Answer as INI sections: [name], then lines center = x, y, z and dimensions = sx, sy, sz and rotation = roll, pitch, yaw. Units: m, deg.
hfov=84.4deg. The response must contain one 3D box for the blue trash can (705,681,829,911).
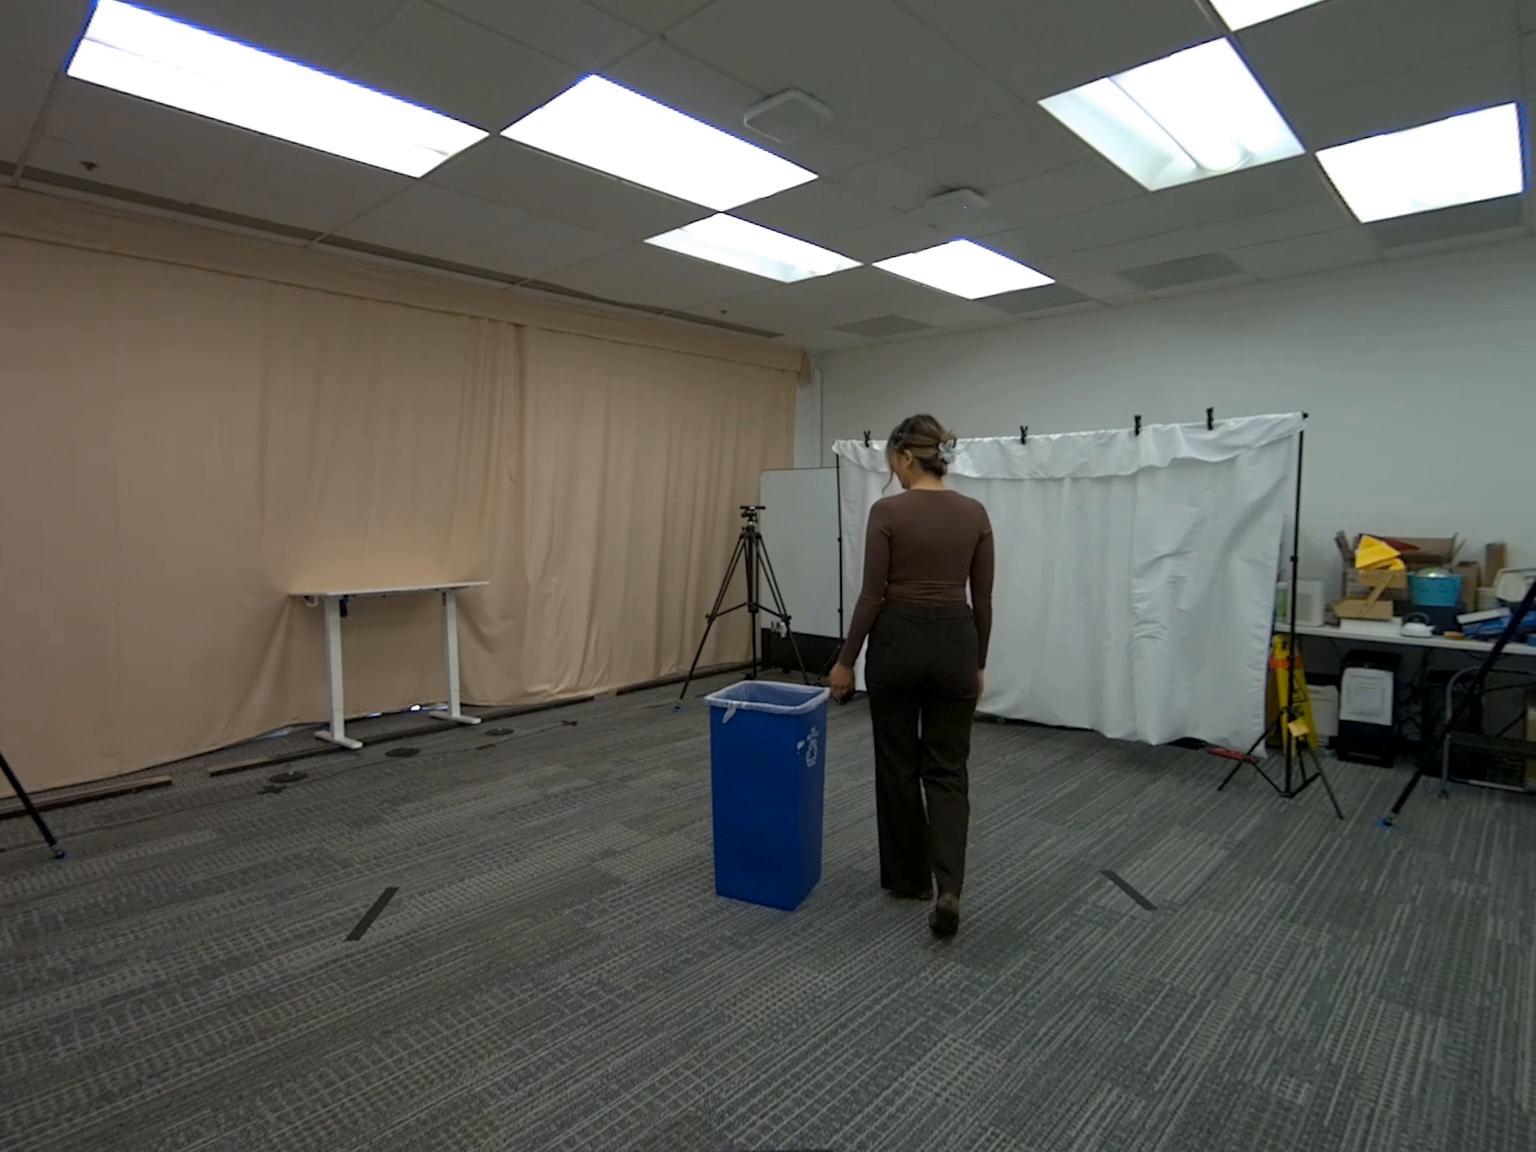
[blue trash can]
center = 0.010, 0.776, 3.074
dimensions = 0.388, 0.712, 0.365
rotation = 2, 4, 24
